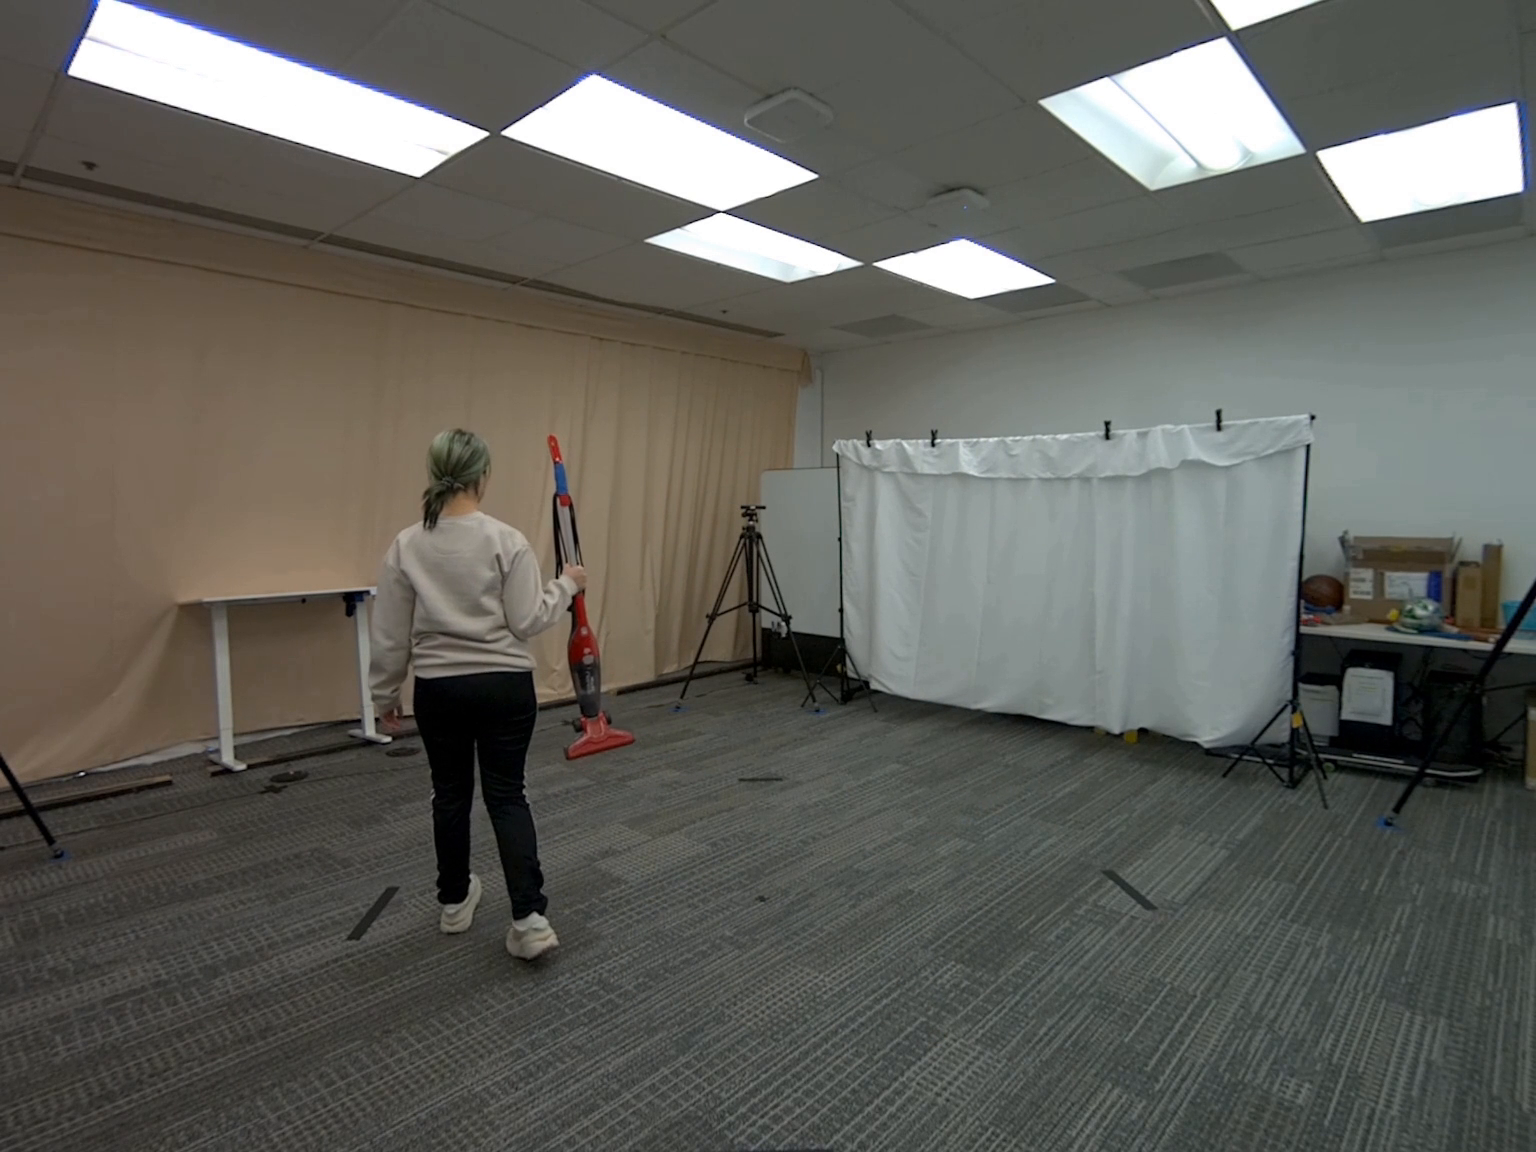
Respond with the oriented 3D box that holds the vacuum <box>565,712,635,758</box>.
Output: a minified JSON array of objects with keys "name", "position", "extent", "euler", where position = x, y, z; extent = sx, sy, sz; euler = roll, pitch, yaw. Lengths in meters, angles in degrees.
[{"name":"vacuum","position":[-0.662,0.048,2.916],"extent":[0.147,1.042,0.248],"euler":[-5,9,24]}]
